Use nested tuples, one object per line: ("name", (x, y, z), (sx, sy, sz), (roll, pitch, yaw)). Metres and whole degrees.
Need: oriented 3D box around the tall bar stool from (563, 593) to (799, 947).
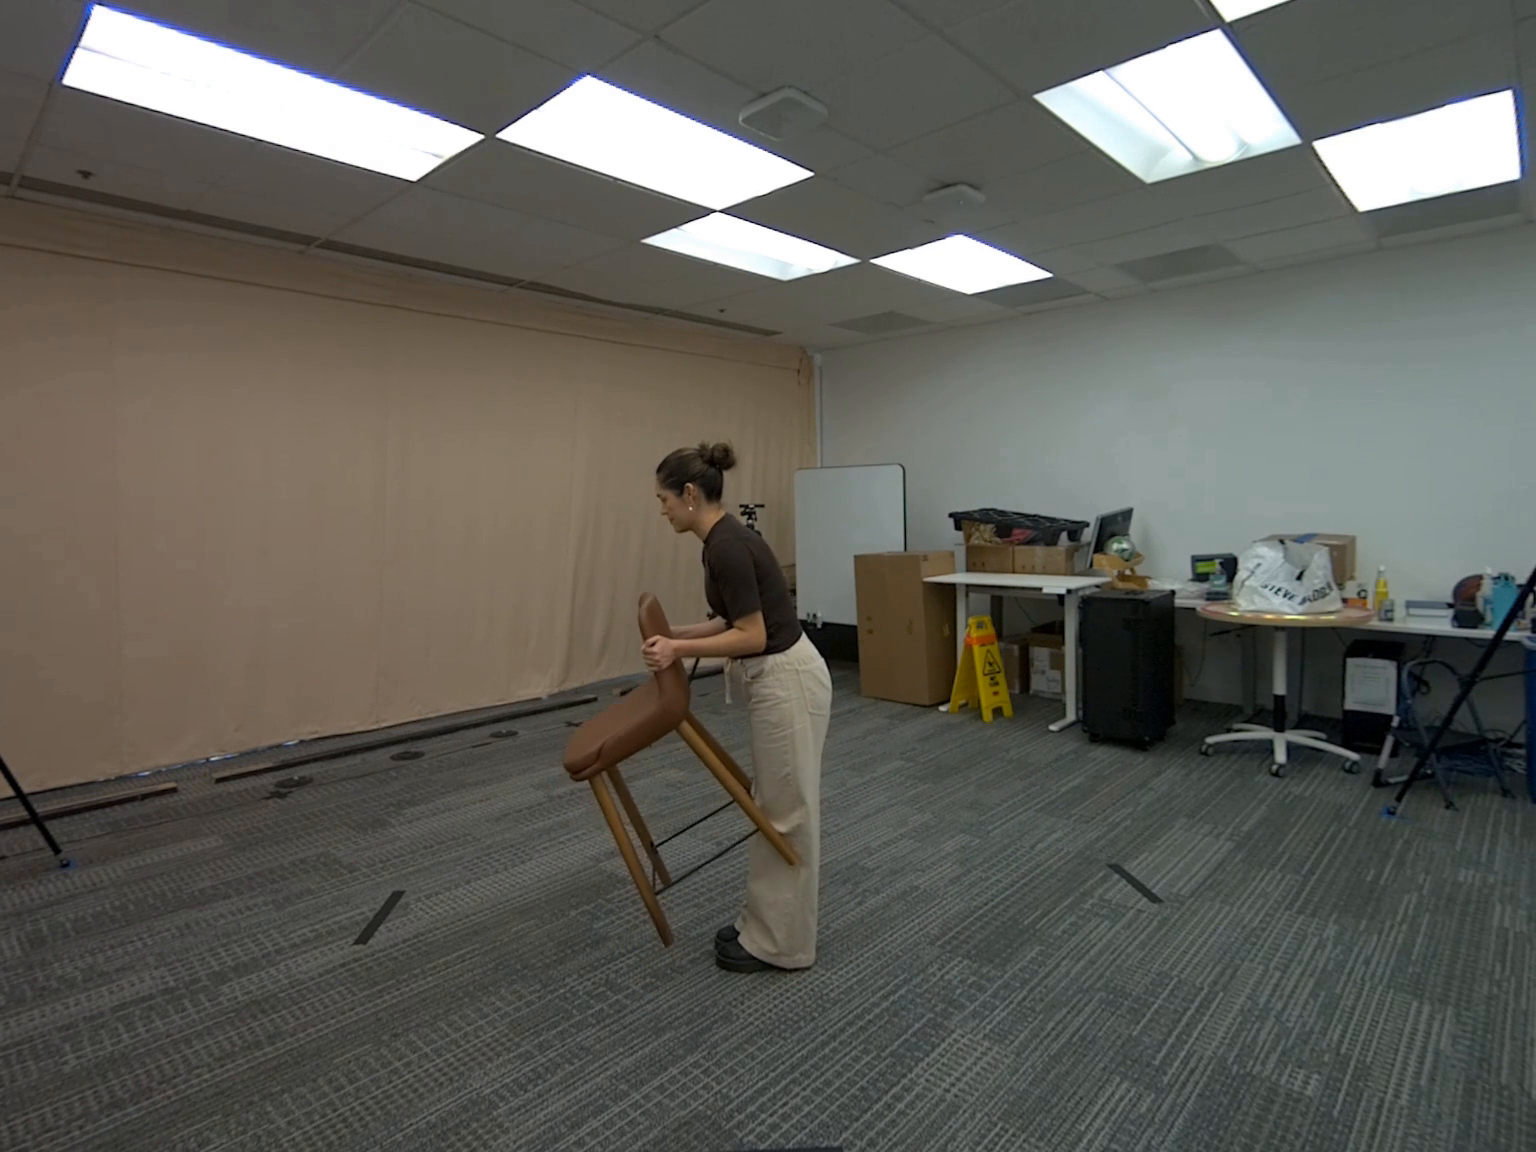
("tall bar stool", (-0.344, 0.559, 2.554), (0.466, 0.884, 0.460), (-28, 6, -4))
